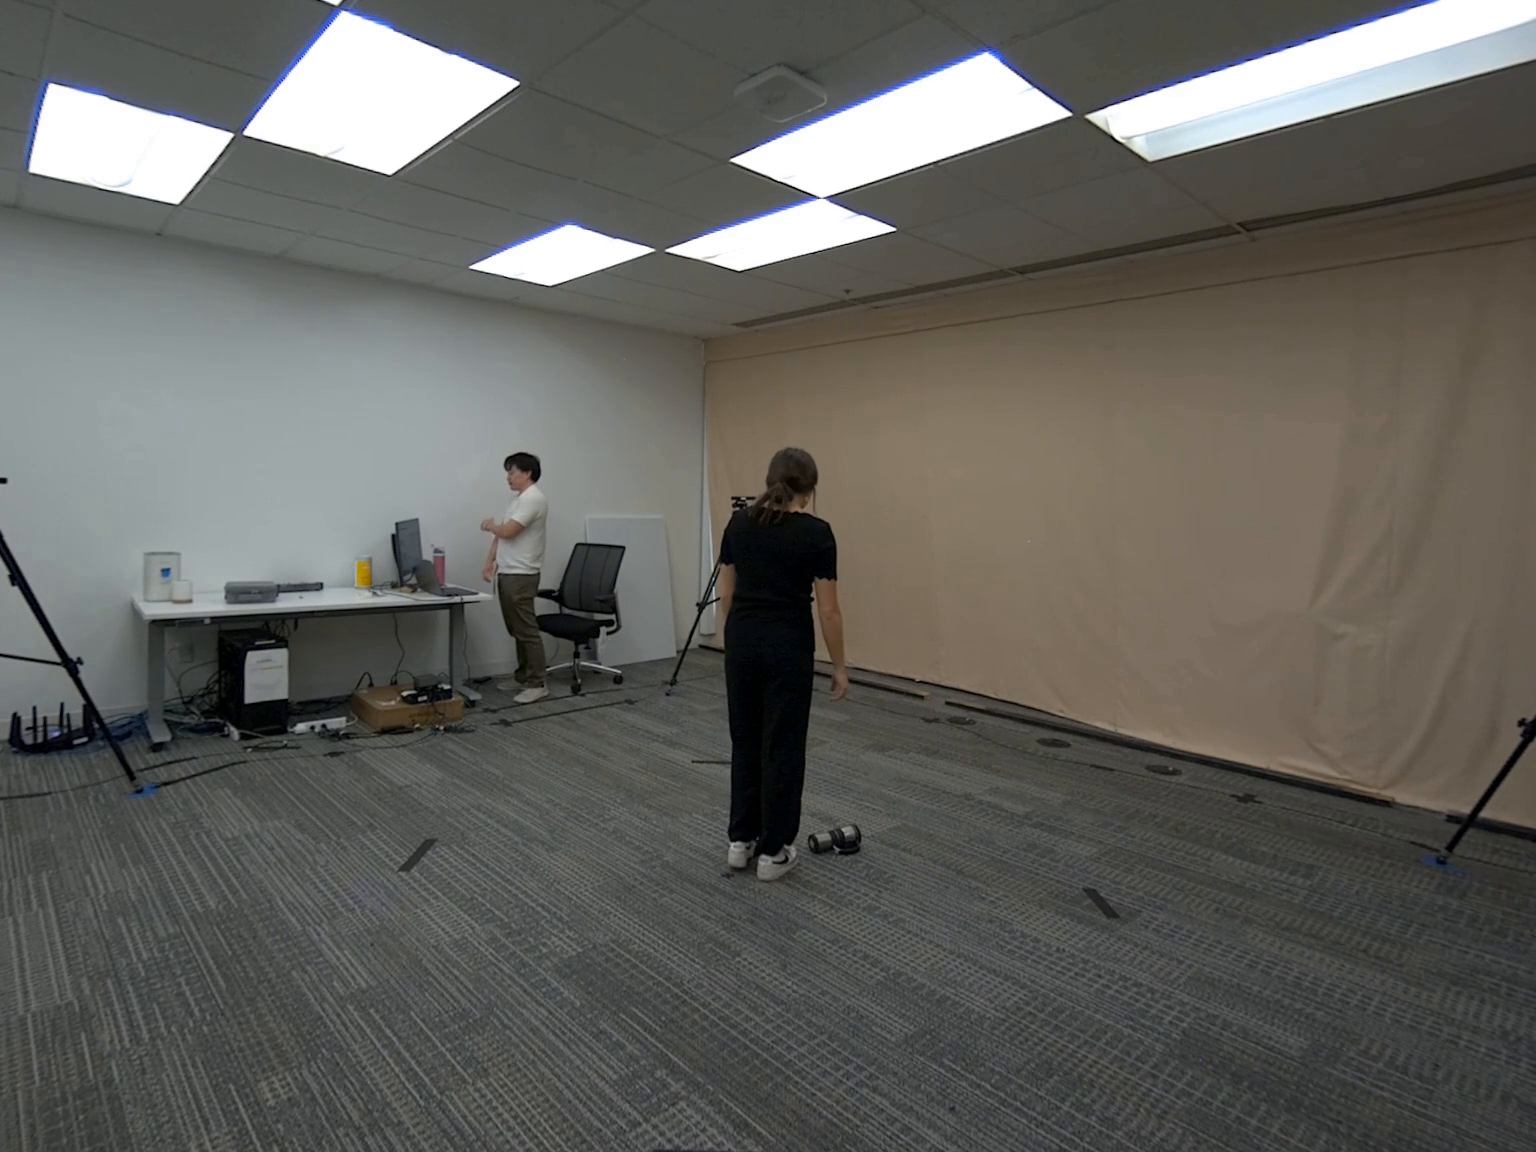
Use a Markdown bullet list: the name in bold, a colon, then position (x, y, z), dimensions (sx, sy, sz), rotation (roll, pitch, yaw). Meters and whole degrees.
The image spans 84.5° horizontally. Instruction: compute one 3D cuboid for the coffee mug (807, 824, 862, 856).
- **coffee mug**: position (0.261, 1.047, 3.344), dimensions (0.199, 0.088, 0.123), rotation (-2, -6, -28)
